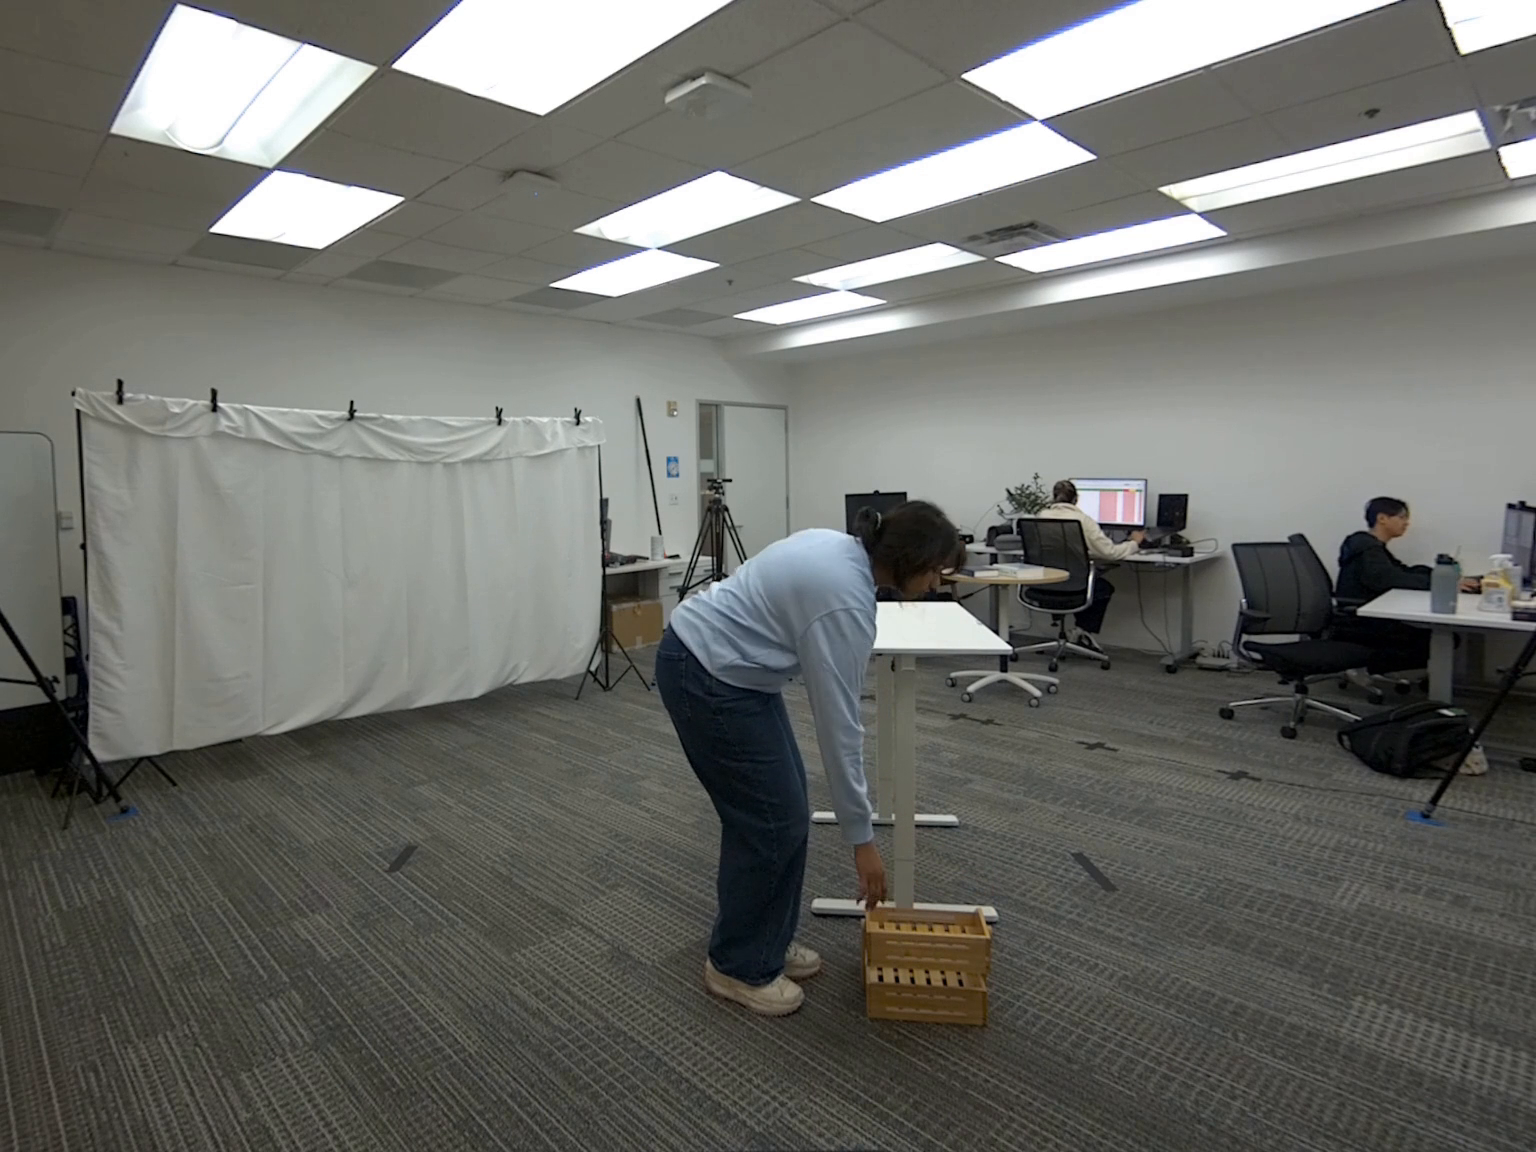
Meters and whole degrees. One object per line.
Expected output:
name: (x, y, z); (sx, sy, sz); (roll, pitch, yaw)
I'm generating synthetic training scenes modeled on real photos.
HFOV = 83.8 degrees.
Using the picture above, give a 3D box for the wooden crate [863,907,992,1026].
wooden crate: (0.414, 0.991, 2.289); (0.327, 0.272, 0.302); (-1, 7, 6)
